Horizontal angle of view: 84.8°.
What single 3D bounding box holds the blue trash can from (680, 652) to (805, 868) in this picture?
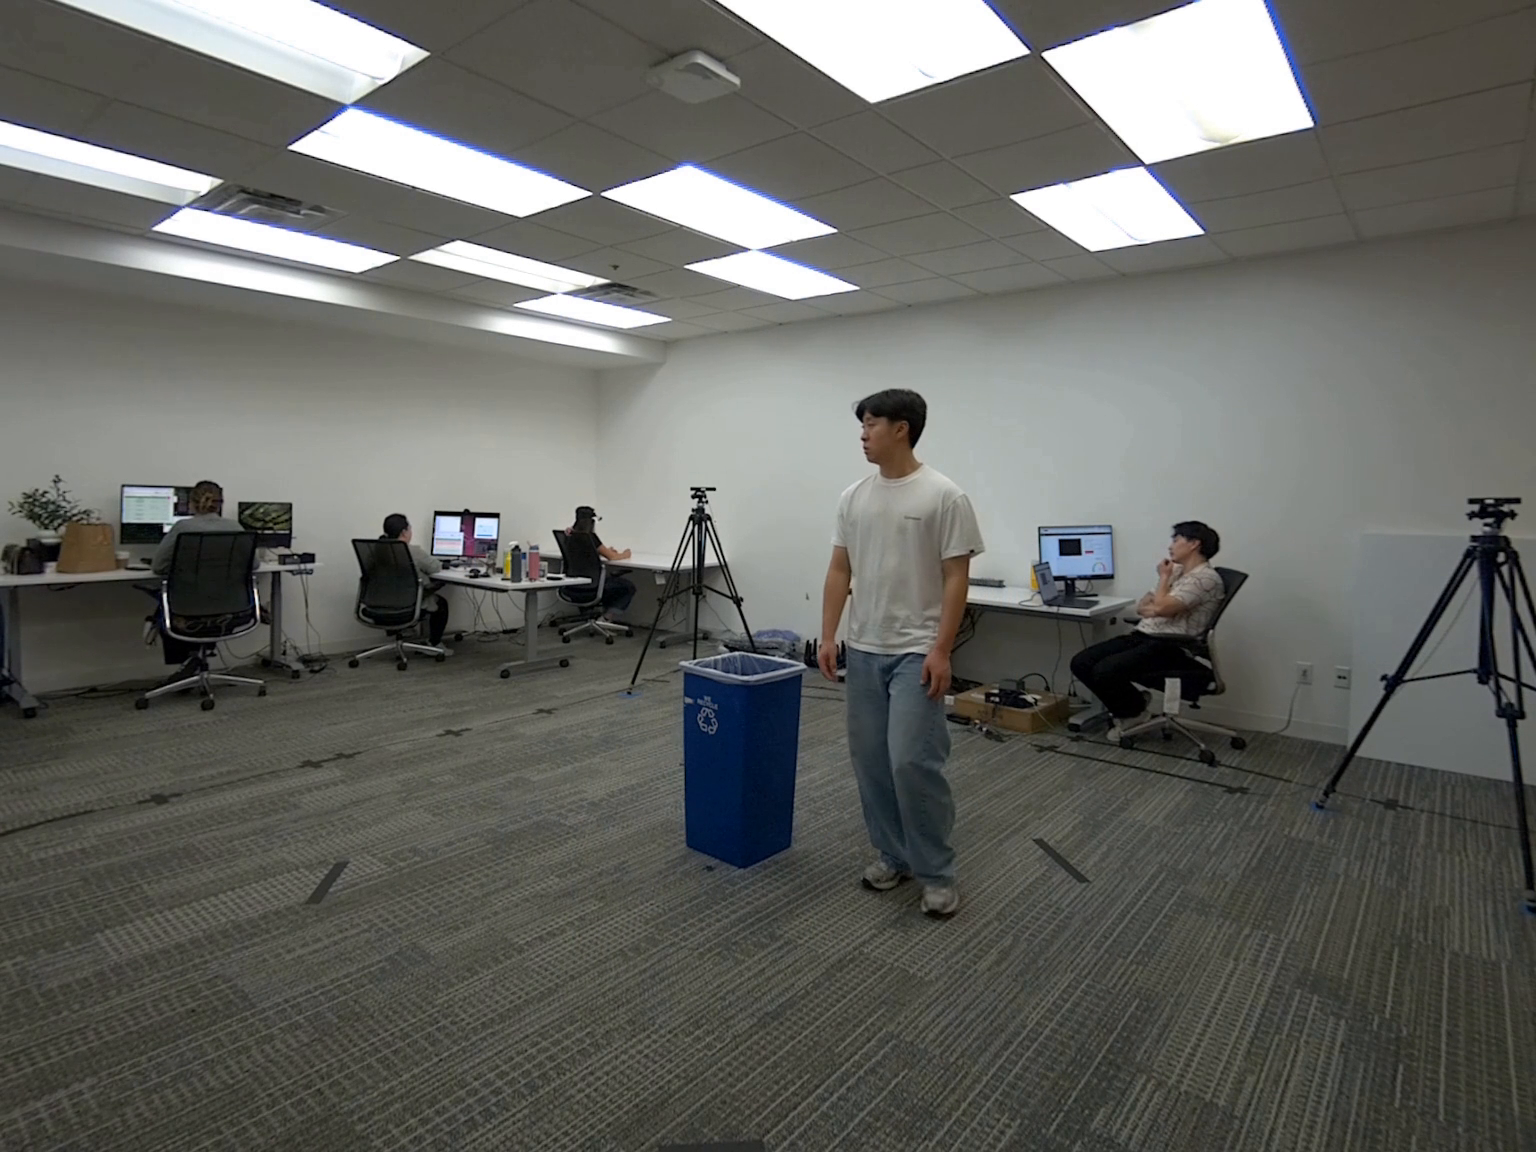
[{"bbox_3d":[-0.109,0.692,3.293,0.386,0.711,0.367,4,4,40],"label":"blue trash can"}]
